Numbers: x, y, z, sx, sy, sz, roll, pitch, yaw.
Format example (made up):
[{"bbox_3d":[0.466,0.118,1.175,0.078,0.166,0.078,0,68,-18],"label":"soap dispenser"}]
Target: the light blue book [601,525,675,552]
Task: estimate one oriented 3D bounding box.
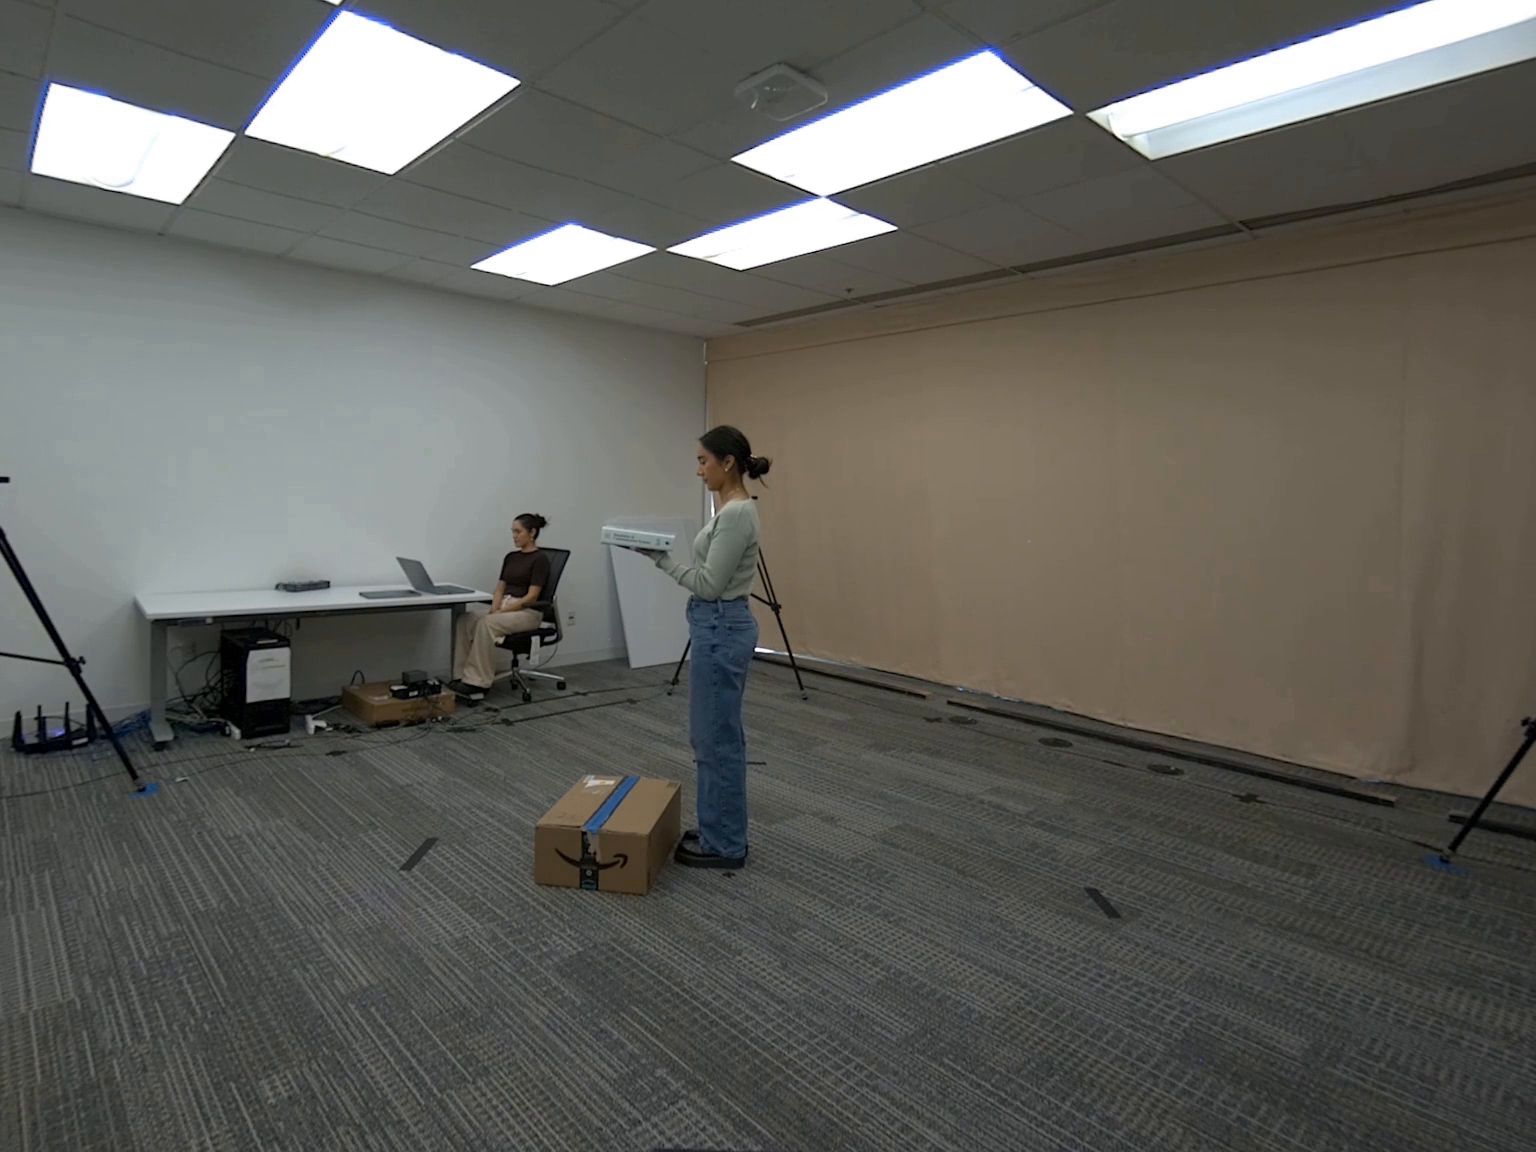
[{"bbox_3d":[-0.477,-0.136,3.118,0.260,0.059,0.193,6,5,-6],"label":"light blue book"}]
